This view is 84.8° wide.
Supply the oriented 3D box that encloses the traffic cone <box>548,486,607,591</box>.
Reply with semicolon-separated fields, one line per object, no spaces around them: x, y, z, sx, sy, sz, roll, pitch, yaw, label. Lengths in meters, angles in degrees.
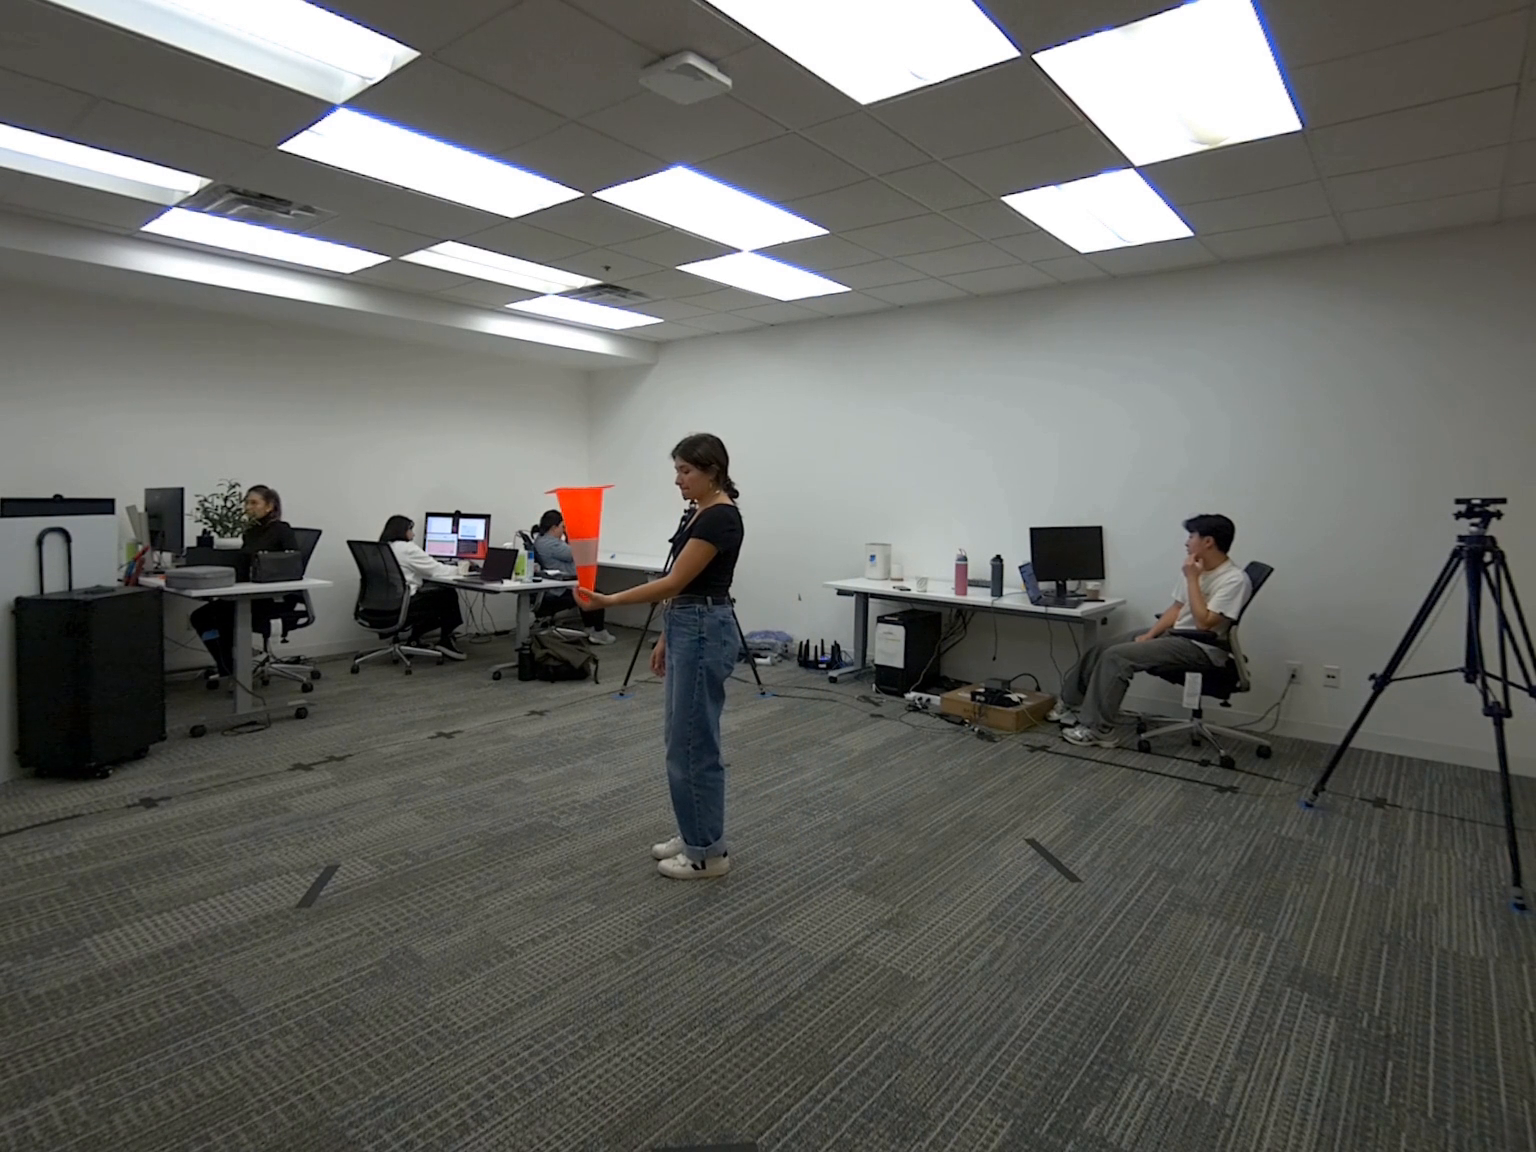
-0.634;-0.105;2.855;0.199;0.382;0.210;-5;3;-24;traffic cone
